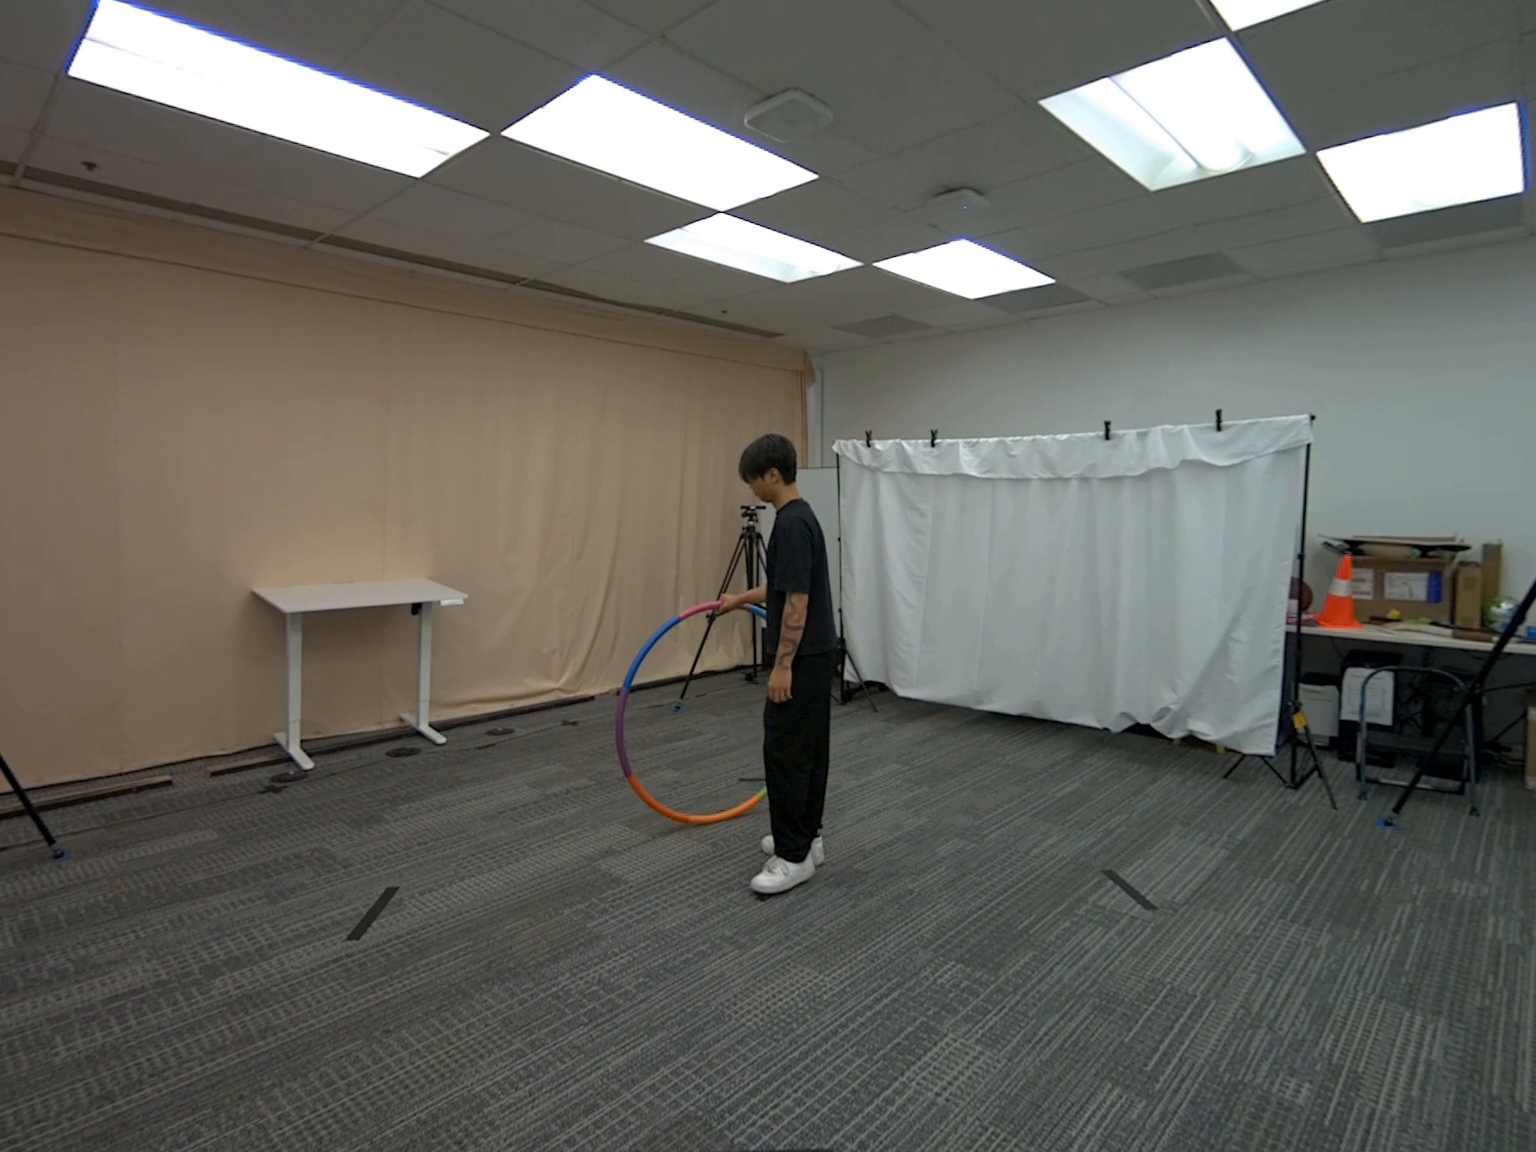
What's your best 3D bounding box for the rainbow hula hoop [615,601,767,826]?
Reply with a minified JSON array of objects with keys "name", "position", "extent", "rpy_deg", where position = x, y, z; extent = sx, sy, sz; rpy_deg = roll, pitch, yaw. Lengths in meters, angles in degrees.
[{"name":"rainbow hula hoop","position":[-0.212,0.600,3.694],"extent":[0.952,0.976,0.036],"rpy_deg":[-2,5,-30]}]
